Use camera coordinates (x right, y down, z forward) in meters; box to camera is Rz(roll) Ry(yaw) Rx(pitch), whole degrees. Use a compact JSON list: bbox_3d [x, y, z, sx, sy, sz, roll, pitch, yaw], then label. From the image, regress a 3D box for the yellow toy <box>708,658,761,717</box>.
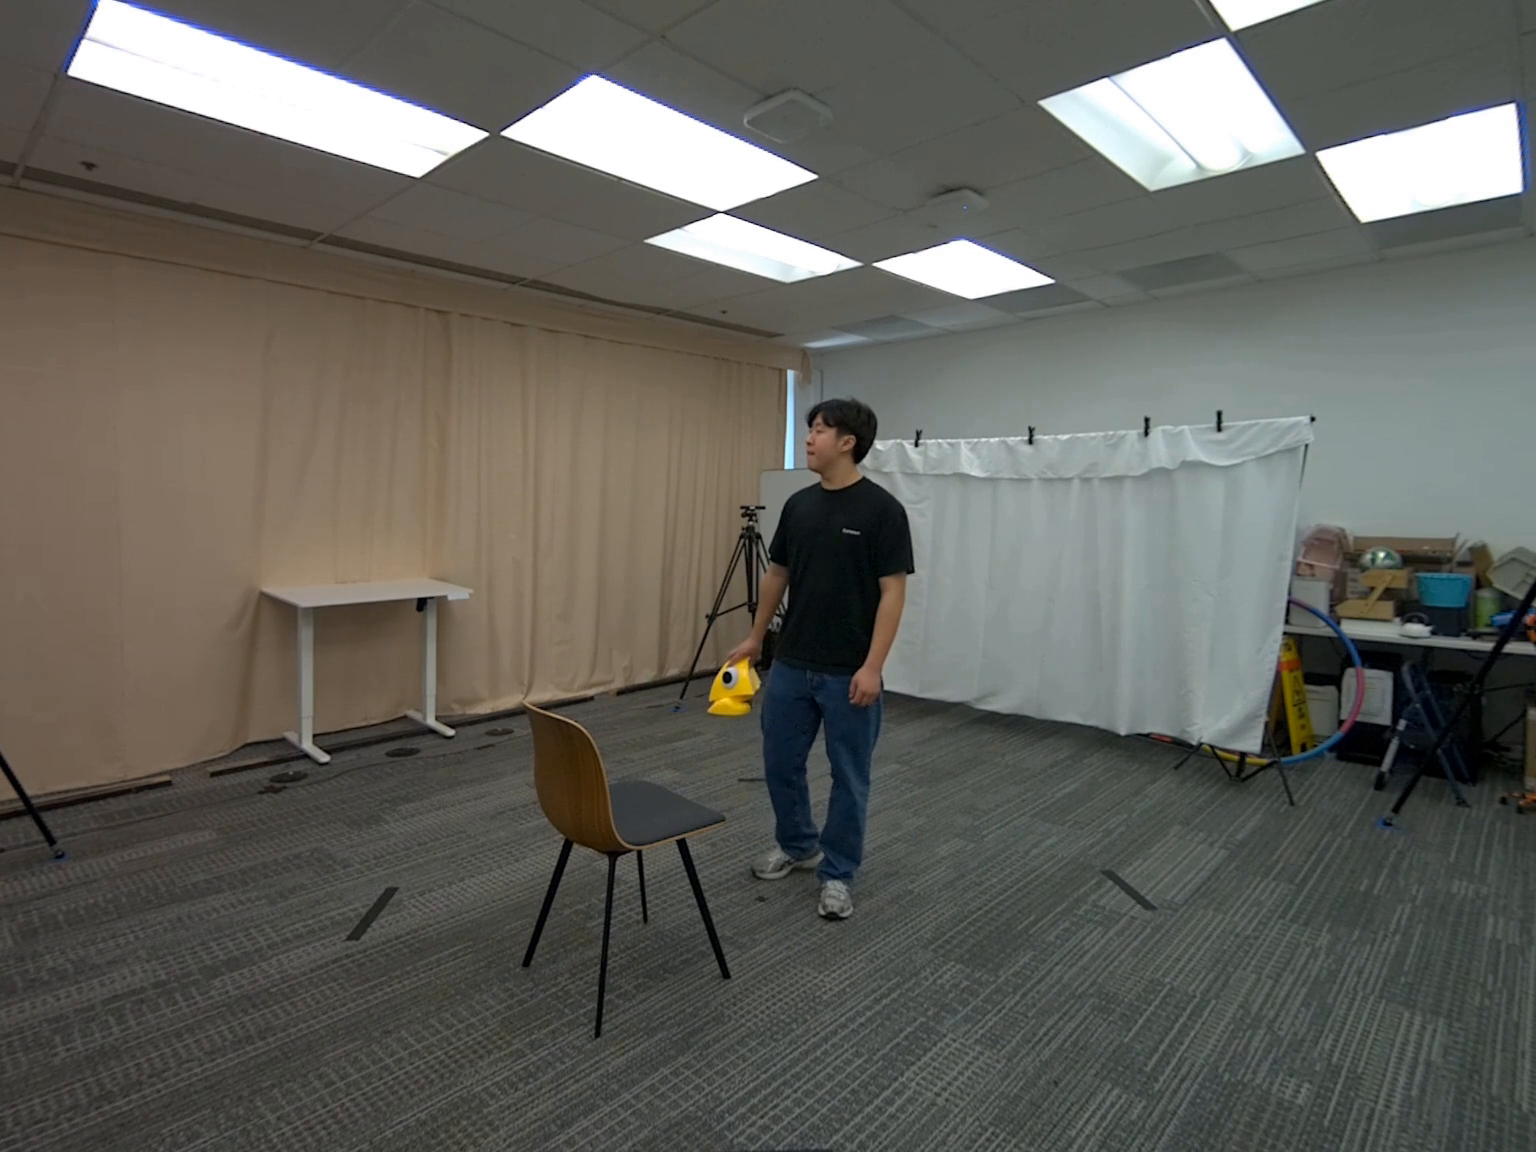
[{"bbox_3d":[-0.133,0.392,3.194,0.195,0.230,0.203,1,4,9],"label":"yellow toy"}]
